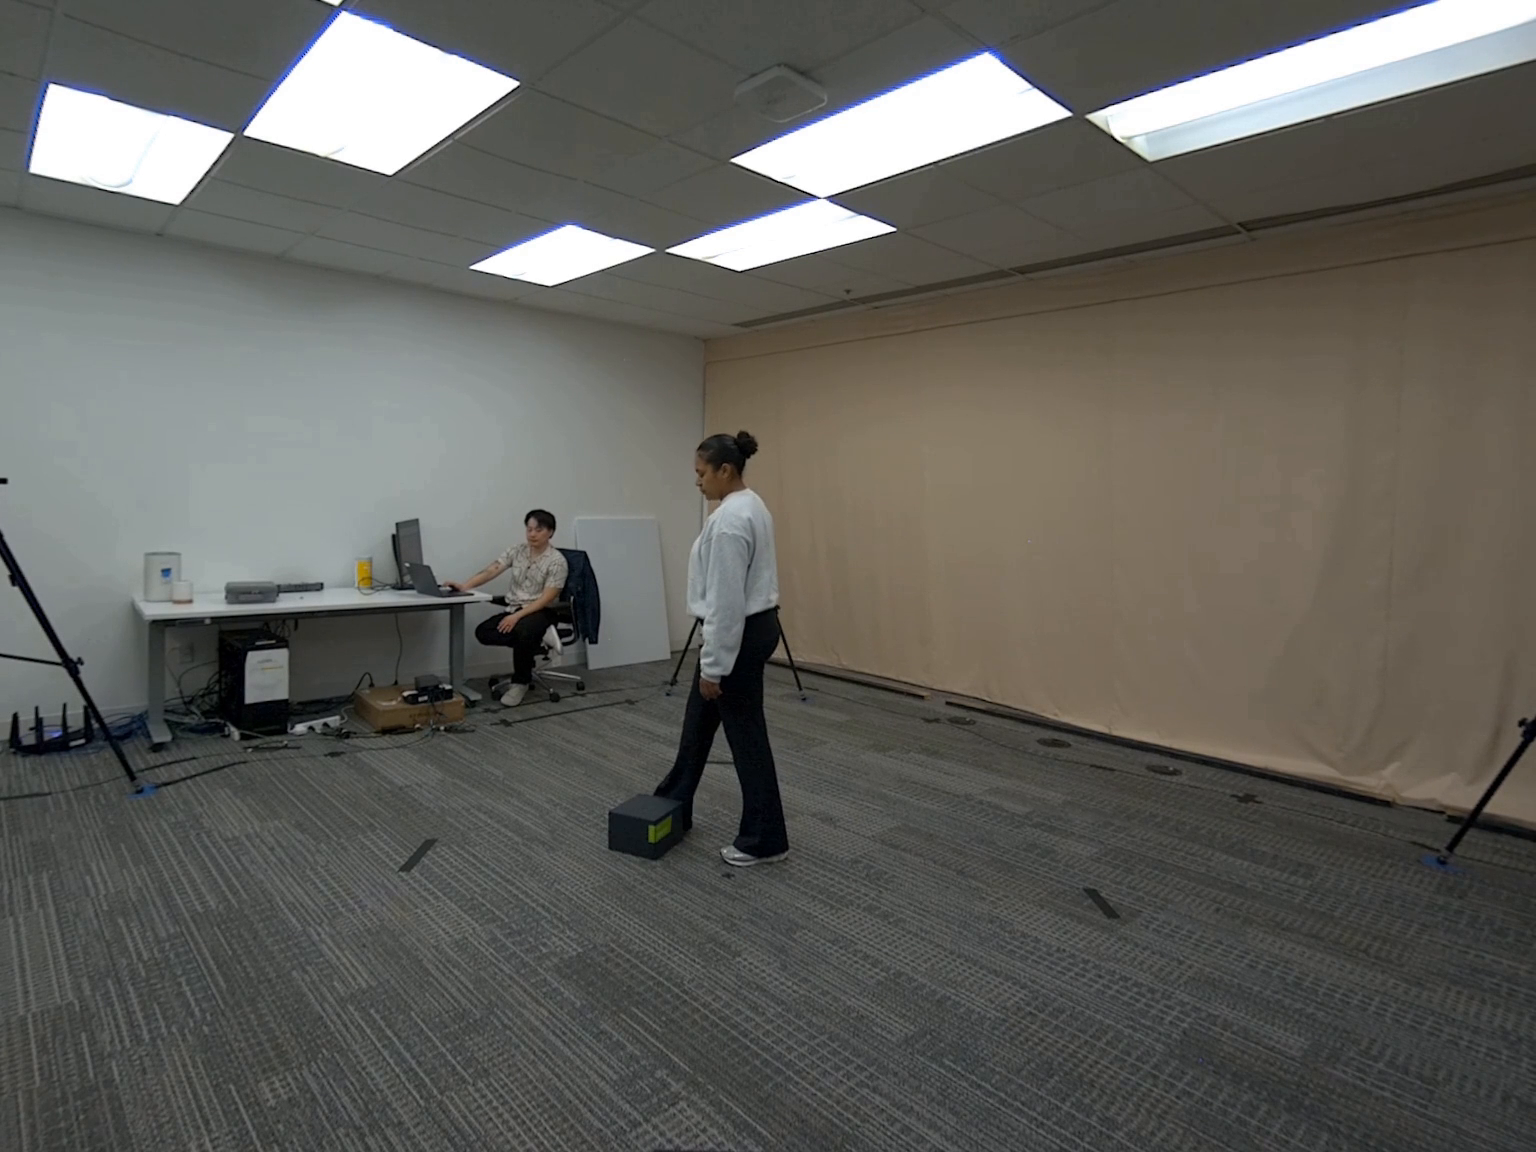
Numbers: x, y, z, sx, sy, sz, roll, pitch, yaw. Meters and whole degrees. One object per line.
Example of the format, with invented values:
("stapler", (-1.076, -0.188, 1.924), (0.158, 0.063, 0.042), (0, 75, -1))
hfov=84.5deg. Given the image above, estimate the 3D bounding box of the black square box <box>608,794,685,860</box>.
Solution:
("black square box", (-0.485, 0.985, 3.360), (0.221, 0.155, 0.224), (3, 5, 25))
